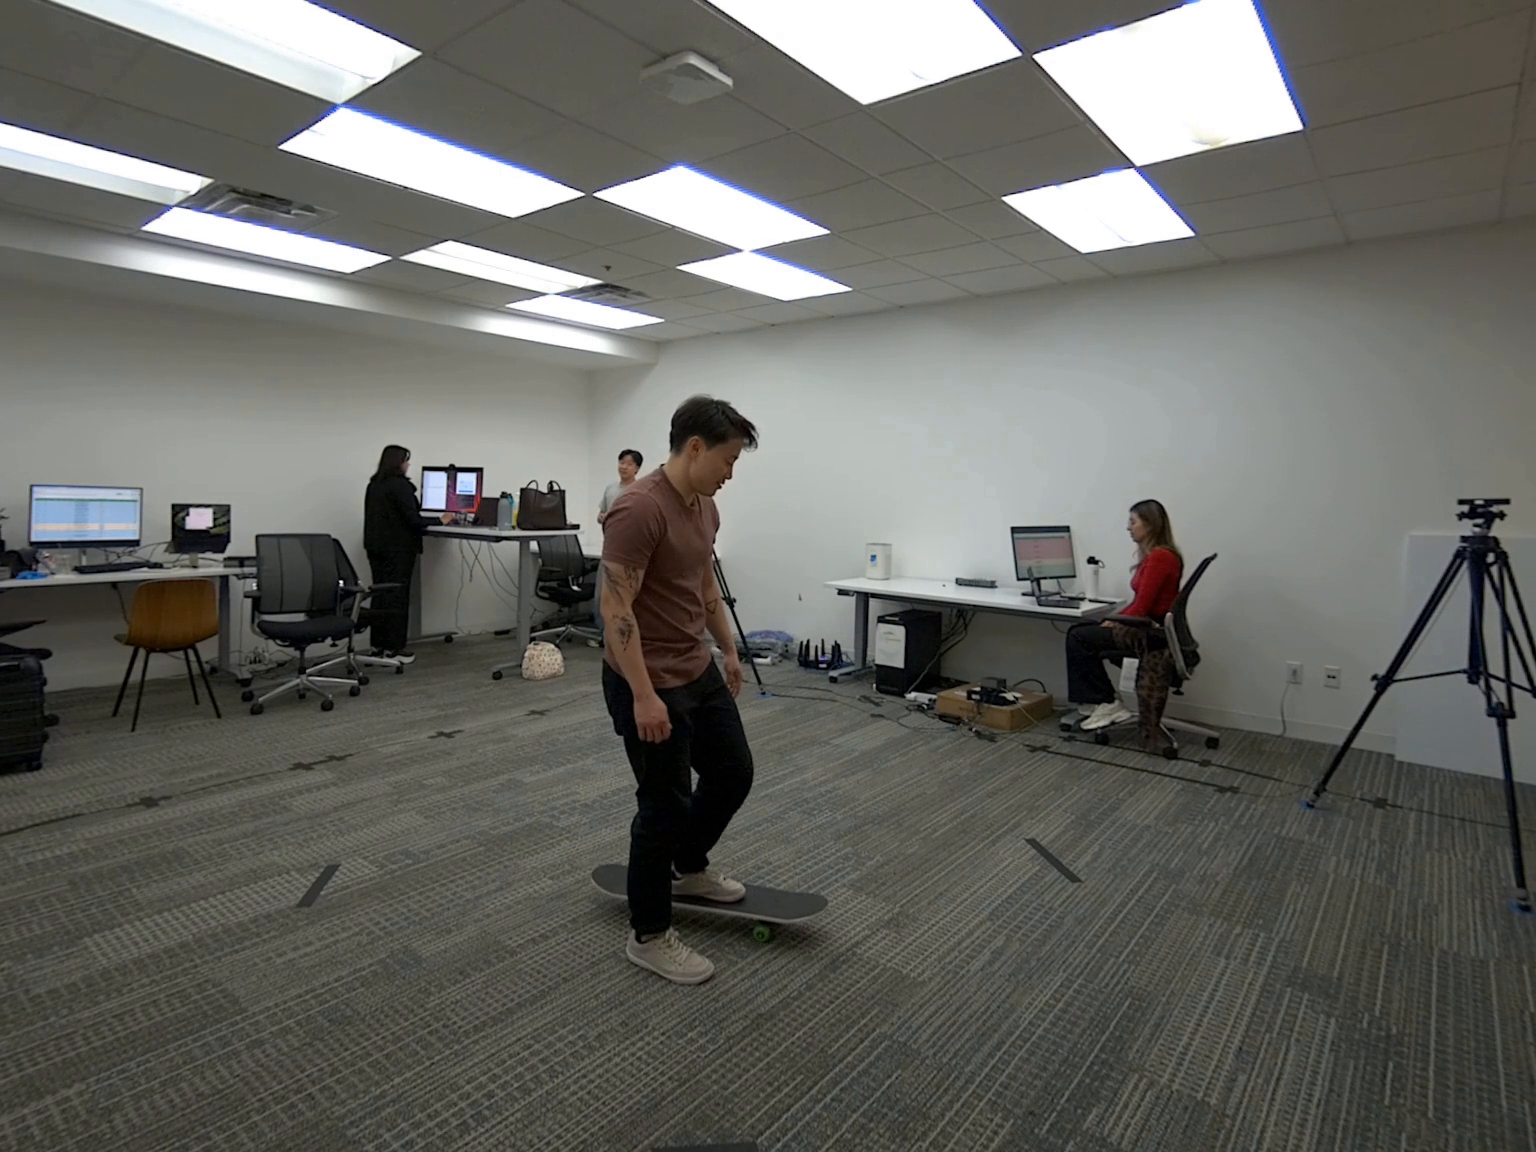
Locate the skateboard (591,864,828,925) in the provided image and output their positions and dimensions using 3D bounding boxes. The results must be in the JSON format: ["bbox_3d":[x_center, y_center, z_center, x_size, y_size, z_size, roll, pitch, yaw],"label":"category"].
[{"bbox_3d":[-0.203,1.047,2.736,0.798,0.110,0.191,2,6,14],"label":"skateboard"}]
